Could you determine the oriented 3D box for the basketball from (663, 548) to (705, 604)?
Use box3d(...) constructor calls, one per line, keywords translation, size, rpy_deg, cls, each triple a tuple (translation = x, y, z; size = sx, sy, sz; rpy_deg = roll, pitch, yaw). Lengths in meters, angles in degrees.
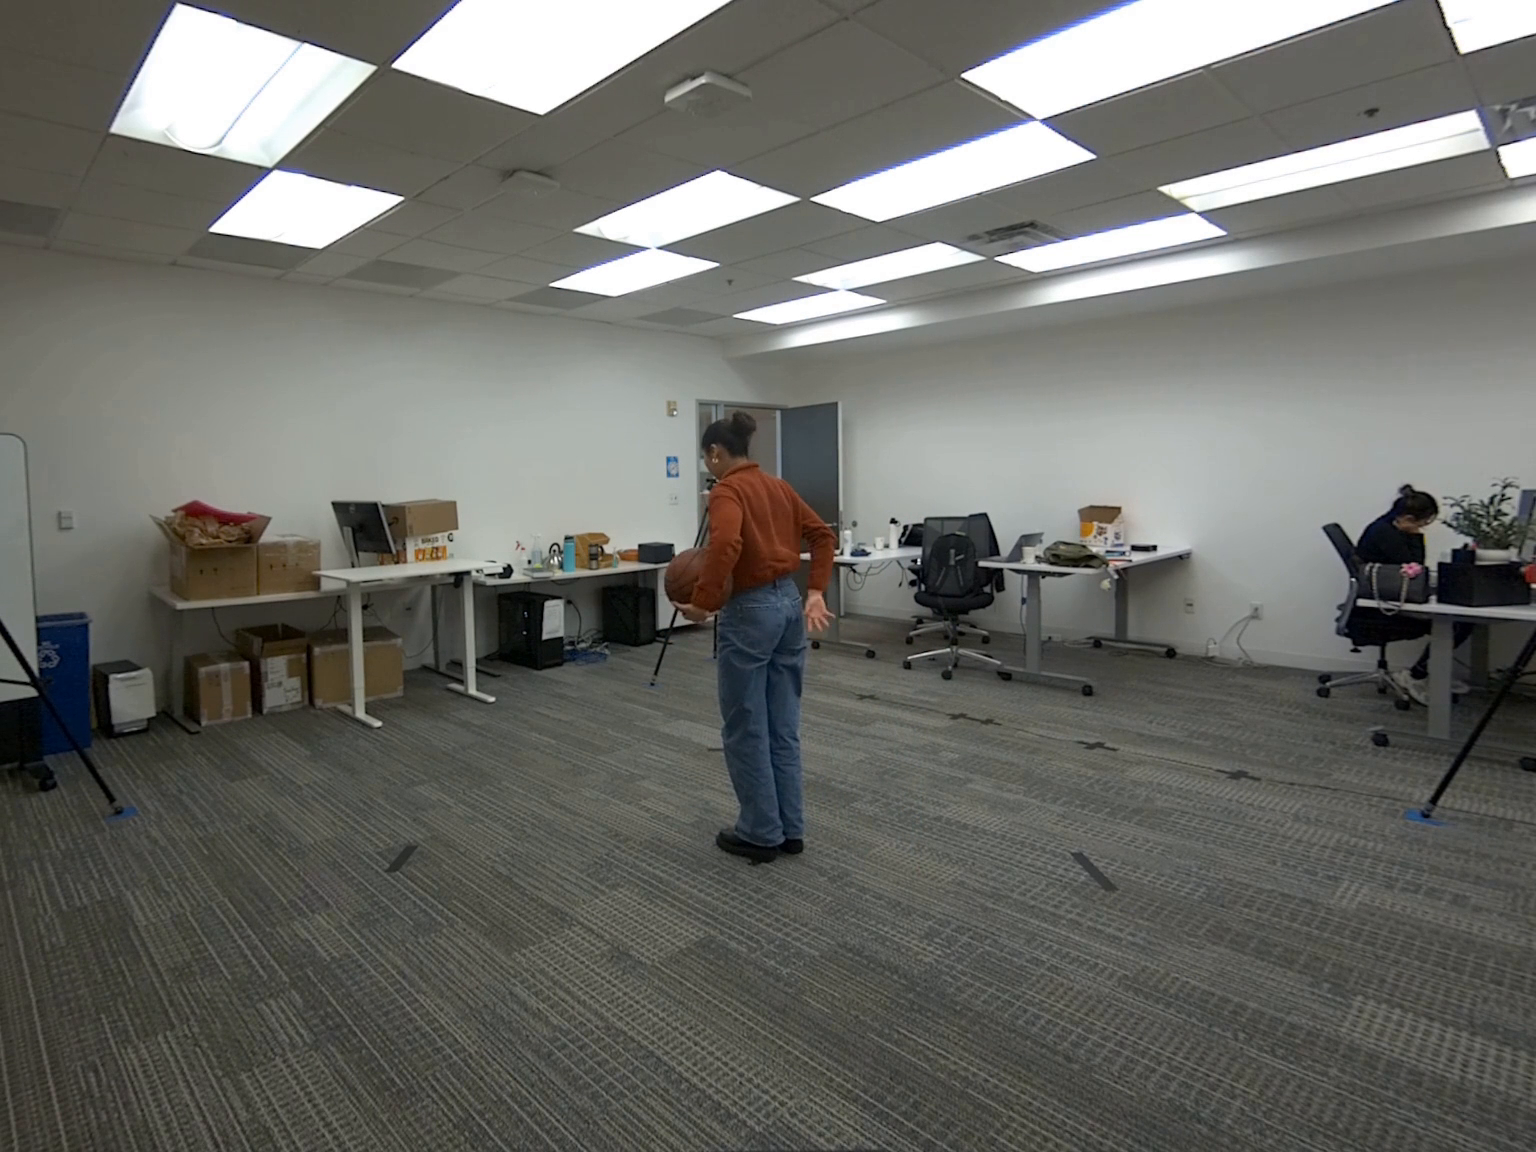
box3d(translation=(-0.230, 0.020, 2.928), size=(0.236, 0.235, 0.237), rpy_deg=(-1, 5, -2), cls="basketball")
